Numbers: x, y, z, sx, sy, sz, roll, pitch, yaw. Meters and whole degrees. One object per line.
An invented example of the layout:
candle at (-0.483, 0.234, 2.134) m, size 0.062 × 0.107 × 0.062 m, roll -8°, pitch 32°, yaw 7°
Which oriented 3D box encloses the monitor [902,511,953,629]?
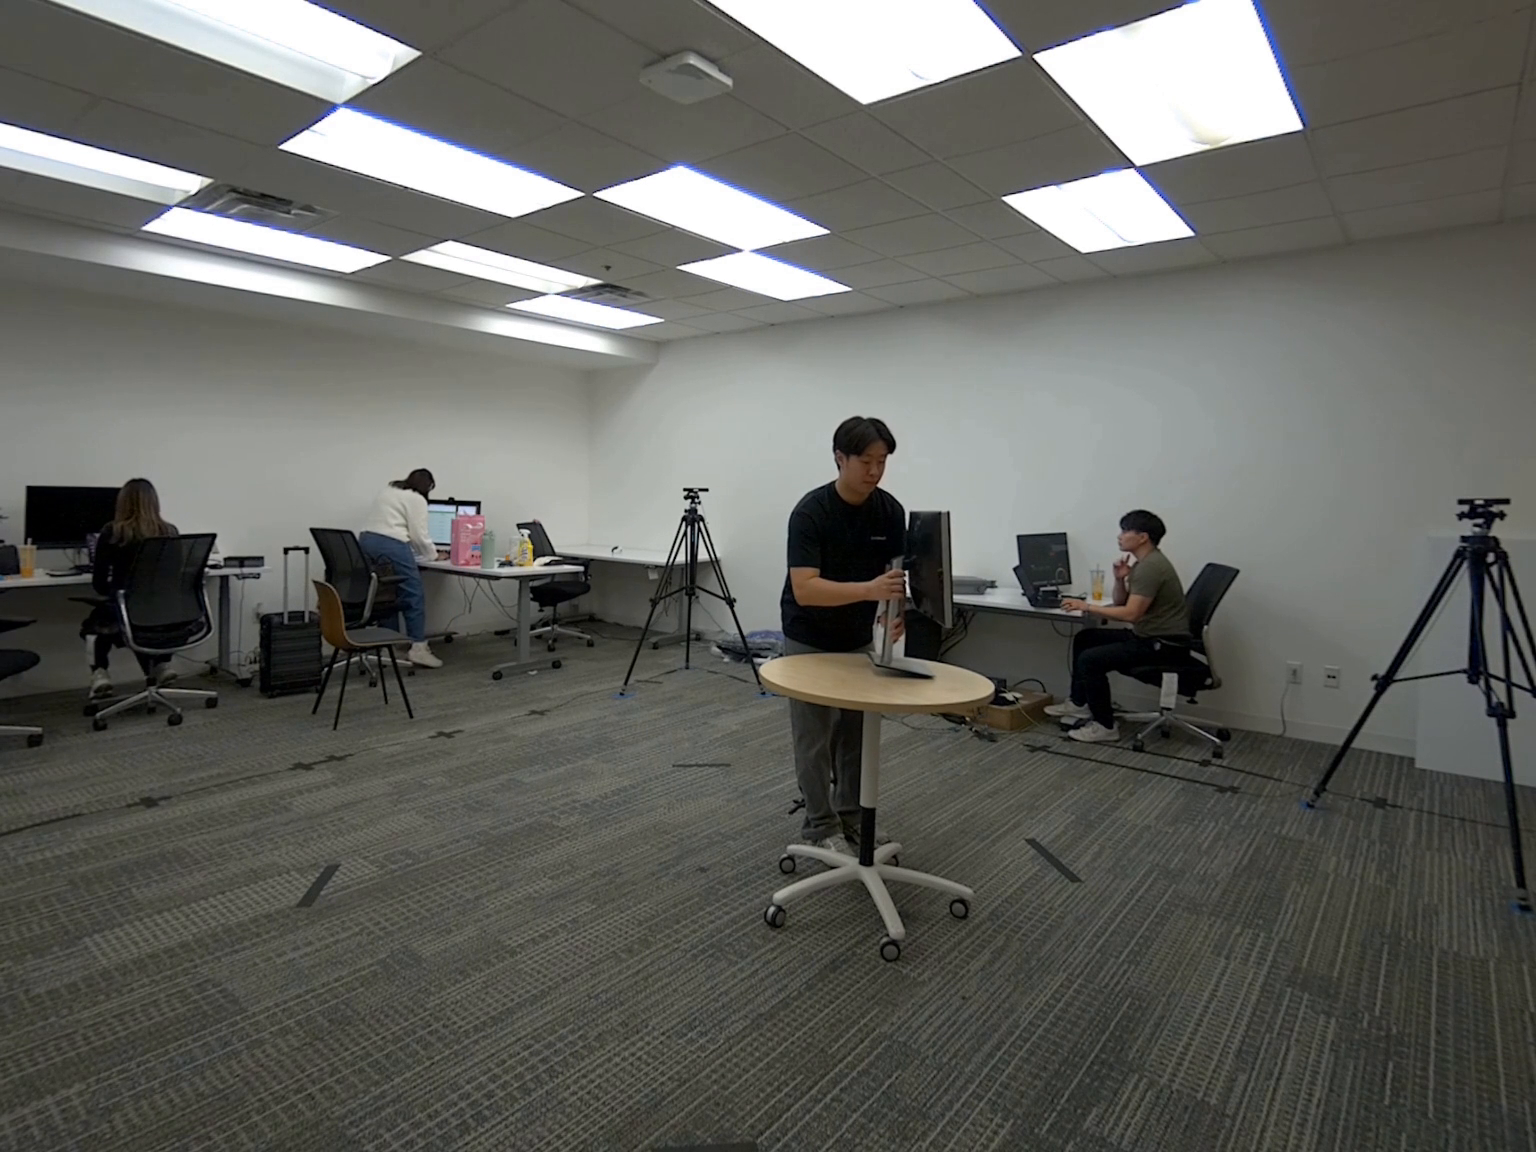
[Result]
monitor at (0.500, 0.051, 2.913) m, size 0.223 × 0.565 × 0.561 m, roll 11°, pitch 3°, yaw 1°
